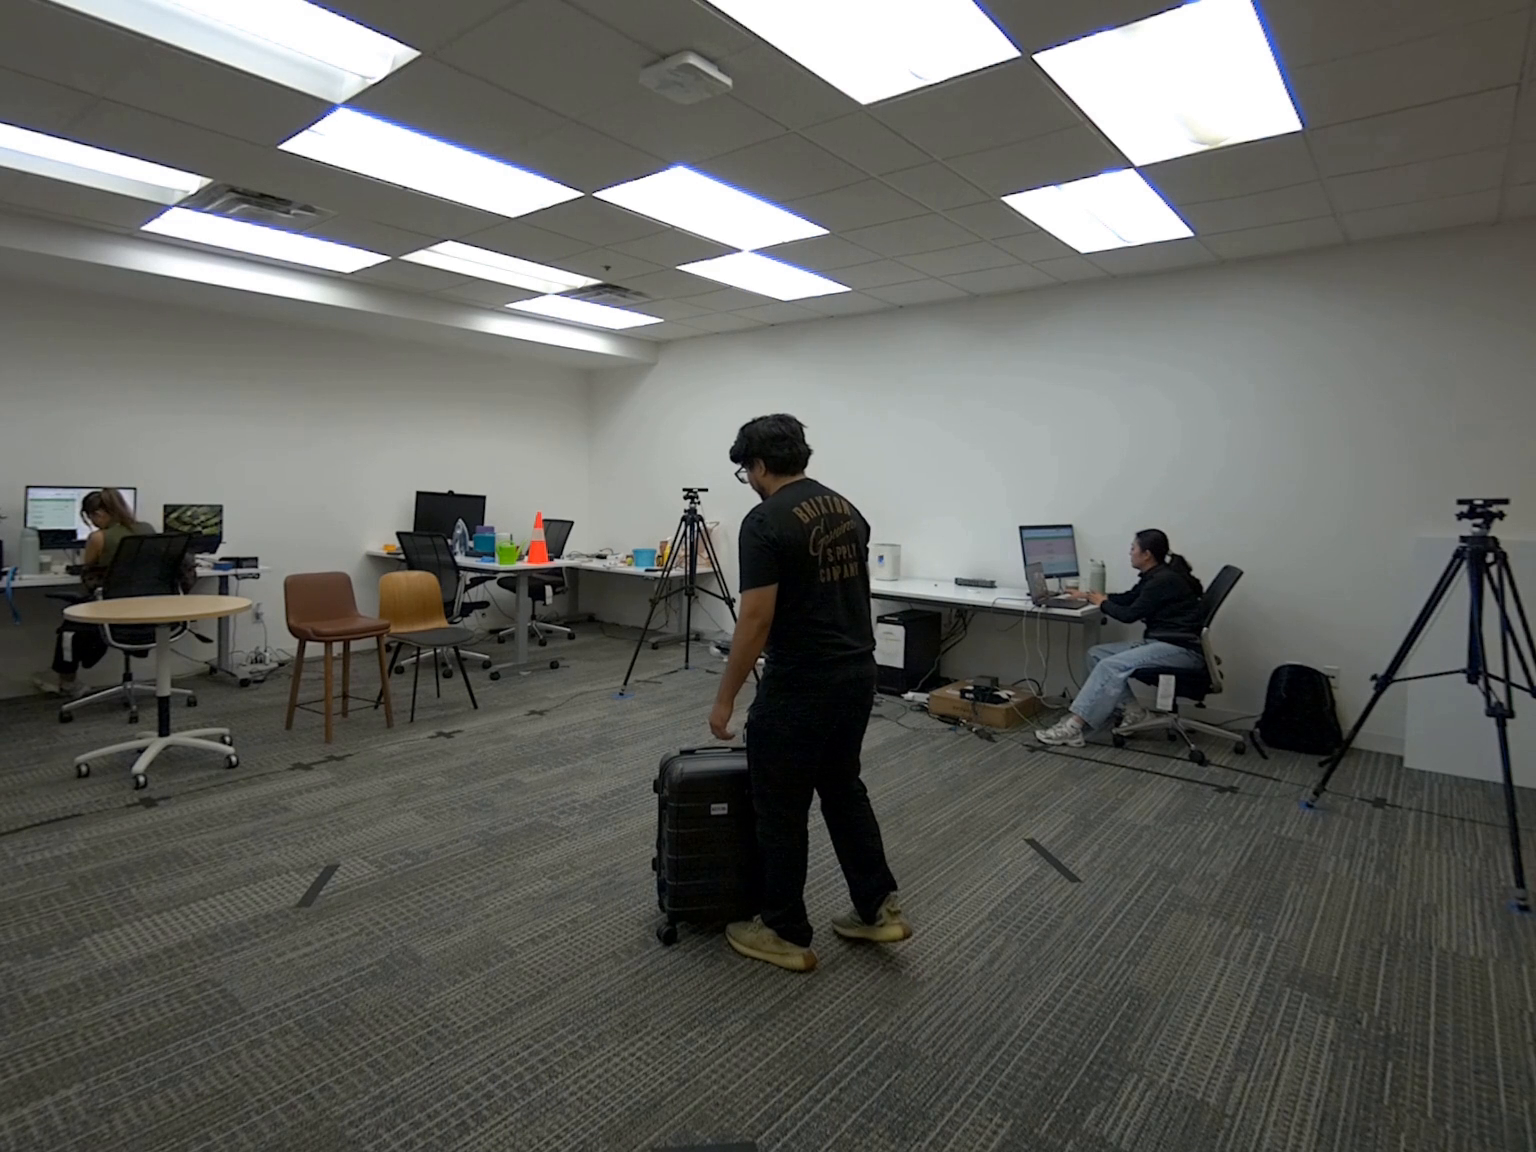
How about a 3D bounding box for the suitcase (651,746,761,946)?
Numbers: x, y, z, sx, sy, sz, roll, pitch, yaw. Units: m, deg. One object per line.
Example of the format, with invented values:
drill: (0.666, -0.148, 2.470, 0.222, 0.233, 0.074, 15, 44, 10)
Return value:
suitcase: (-0.180, 0.829, 2.729, 0.371, 0.548, 0.252, 1, 3, -12)
